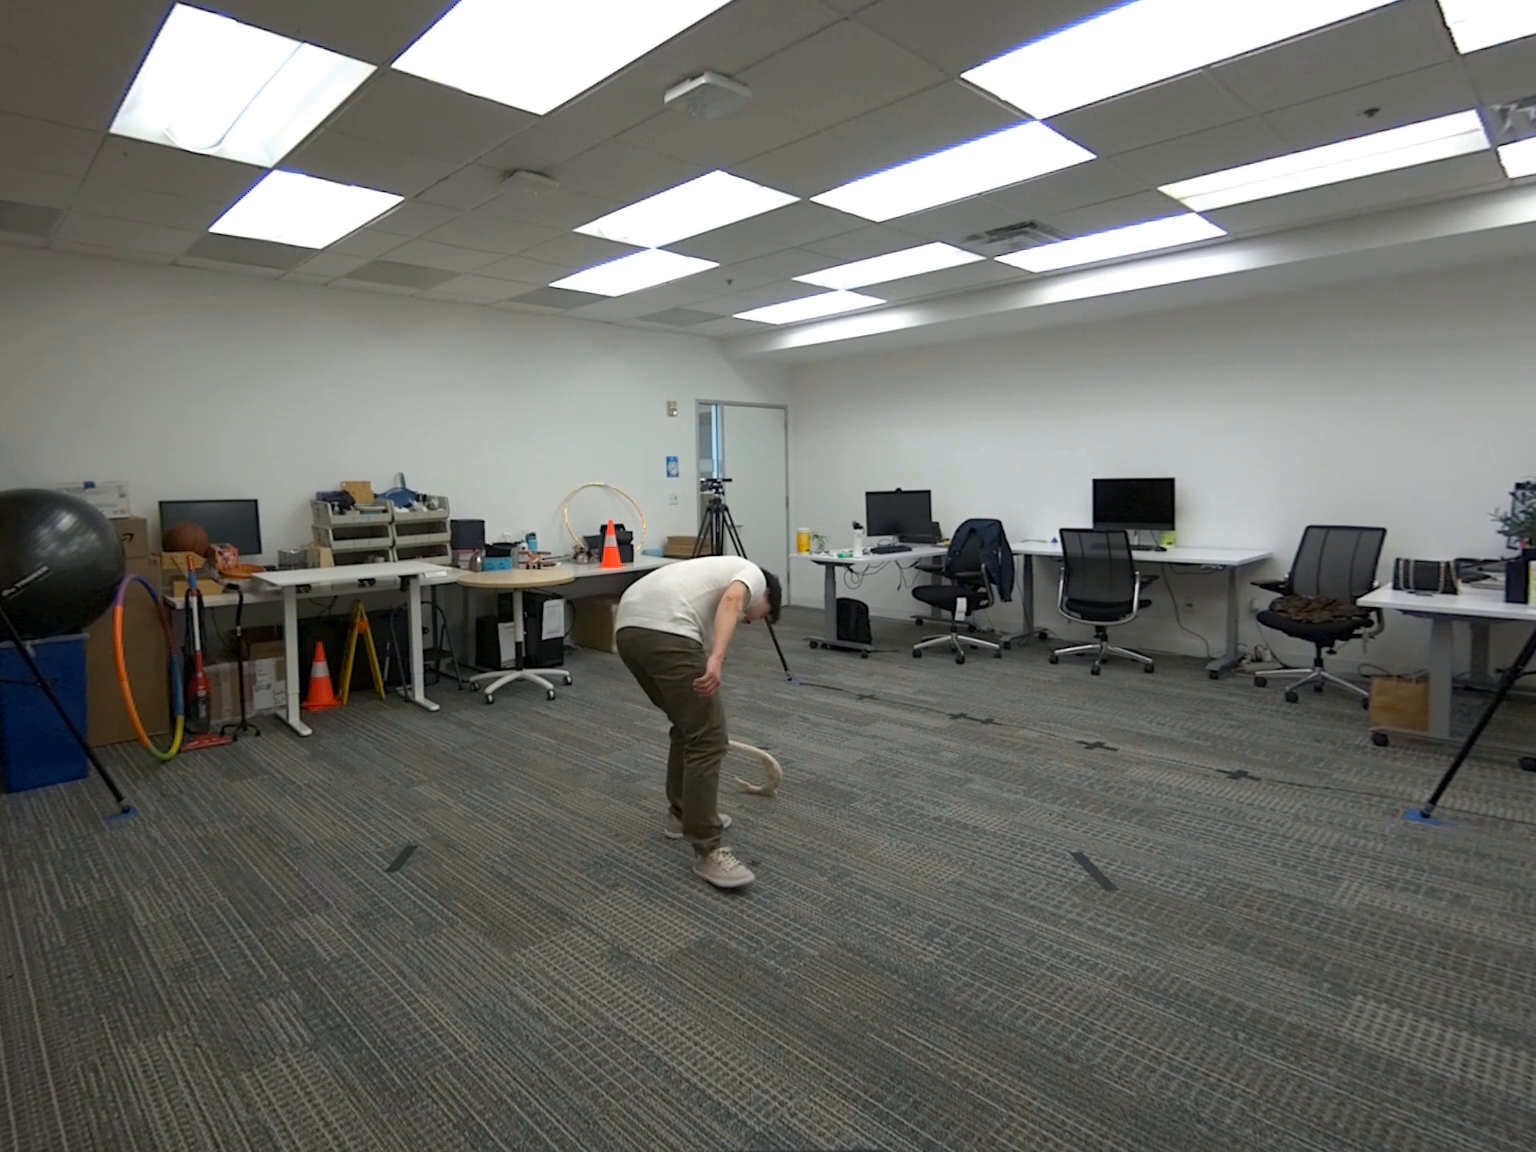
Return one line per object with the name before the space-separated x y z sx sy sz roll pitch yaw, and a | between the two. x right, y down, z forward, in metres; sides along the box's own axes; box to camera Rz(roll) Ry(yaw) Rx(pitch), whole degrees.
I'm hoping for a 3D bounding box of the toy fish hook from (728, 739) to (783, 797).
toy fish hook | -0.170 0.812 3.812 0.519 0.223 0.047 27 16 20
